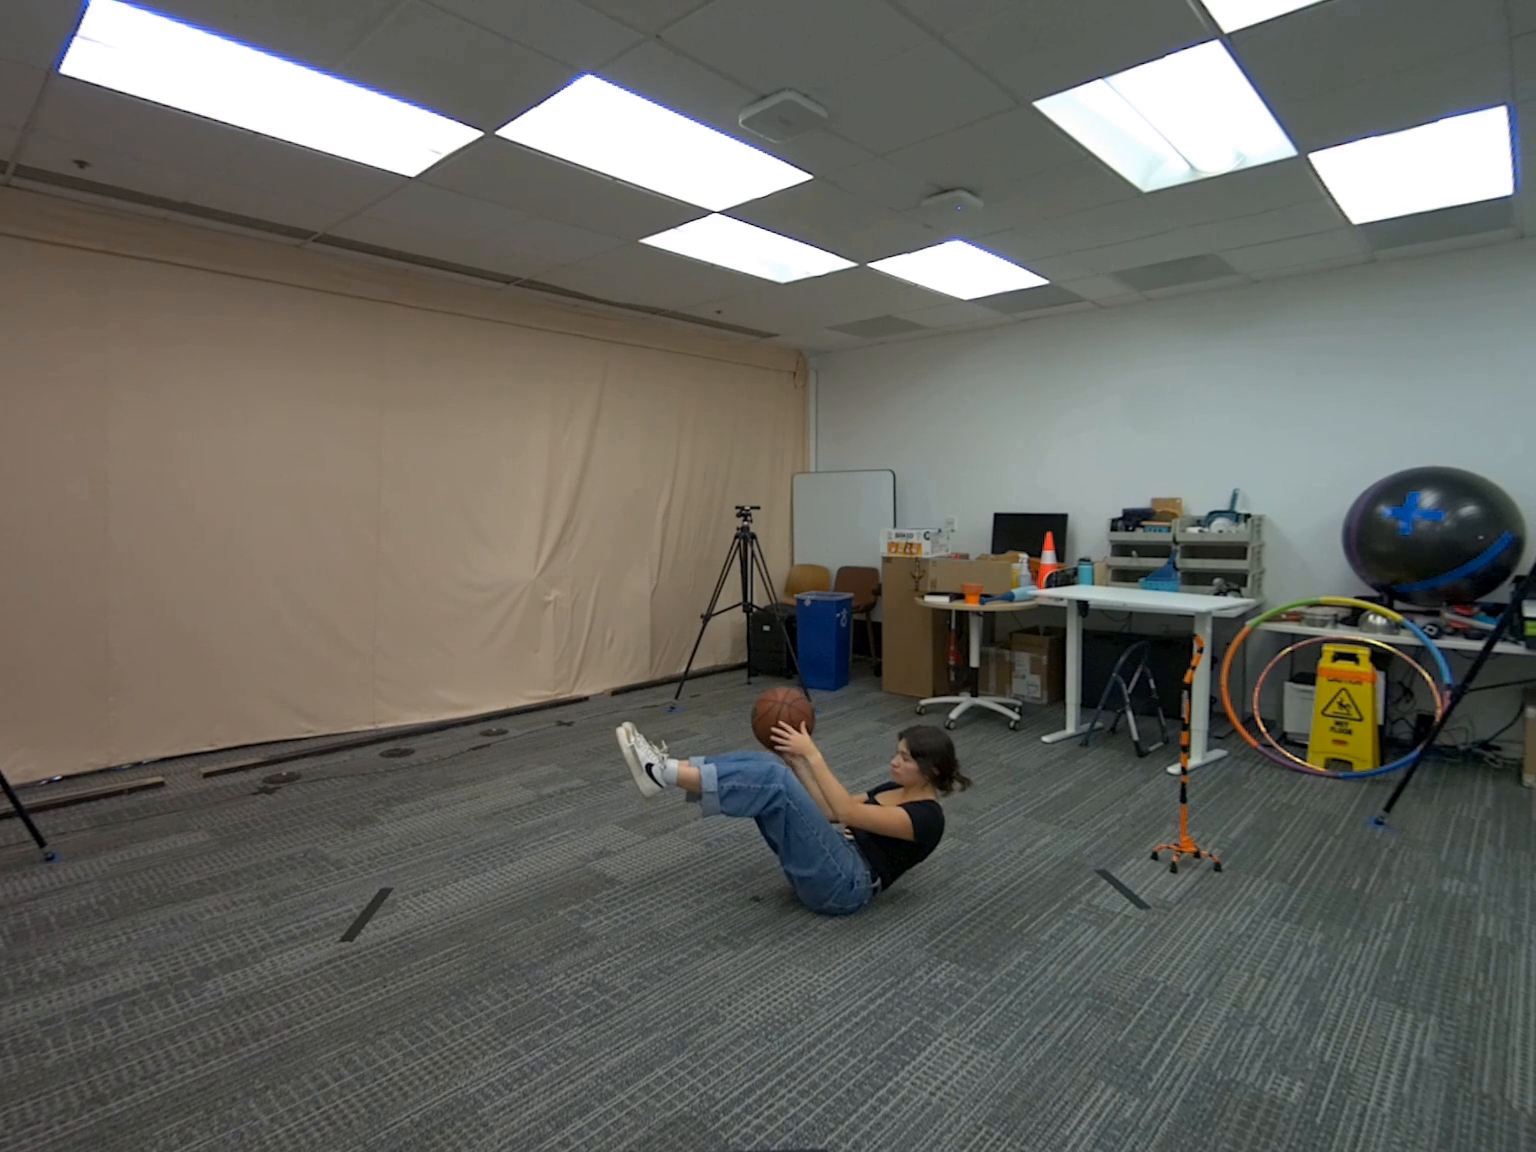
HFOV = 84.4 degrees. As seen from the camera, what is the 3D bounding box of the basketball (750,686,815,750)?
[{"bbox_3d":[0.050,0.546,3.113,0.236,0.235,0.237,0,4,-2],"label":"basketball"}]
